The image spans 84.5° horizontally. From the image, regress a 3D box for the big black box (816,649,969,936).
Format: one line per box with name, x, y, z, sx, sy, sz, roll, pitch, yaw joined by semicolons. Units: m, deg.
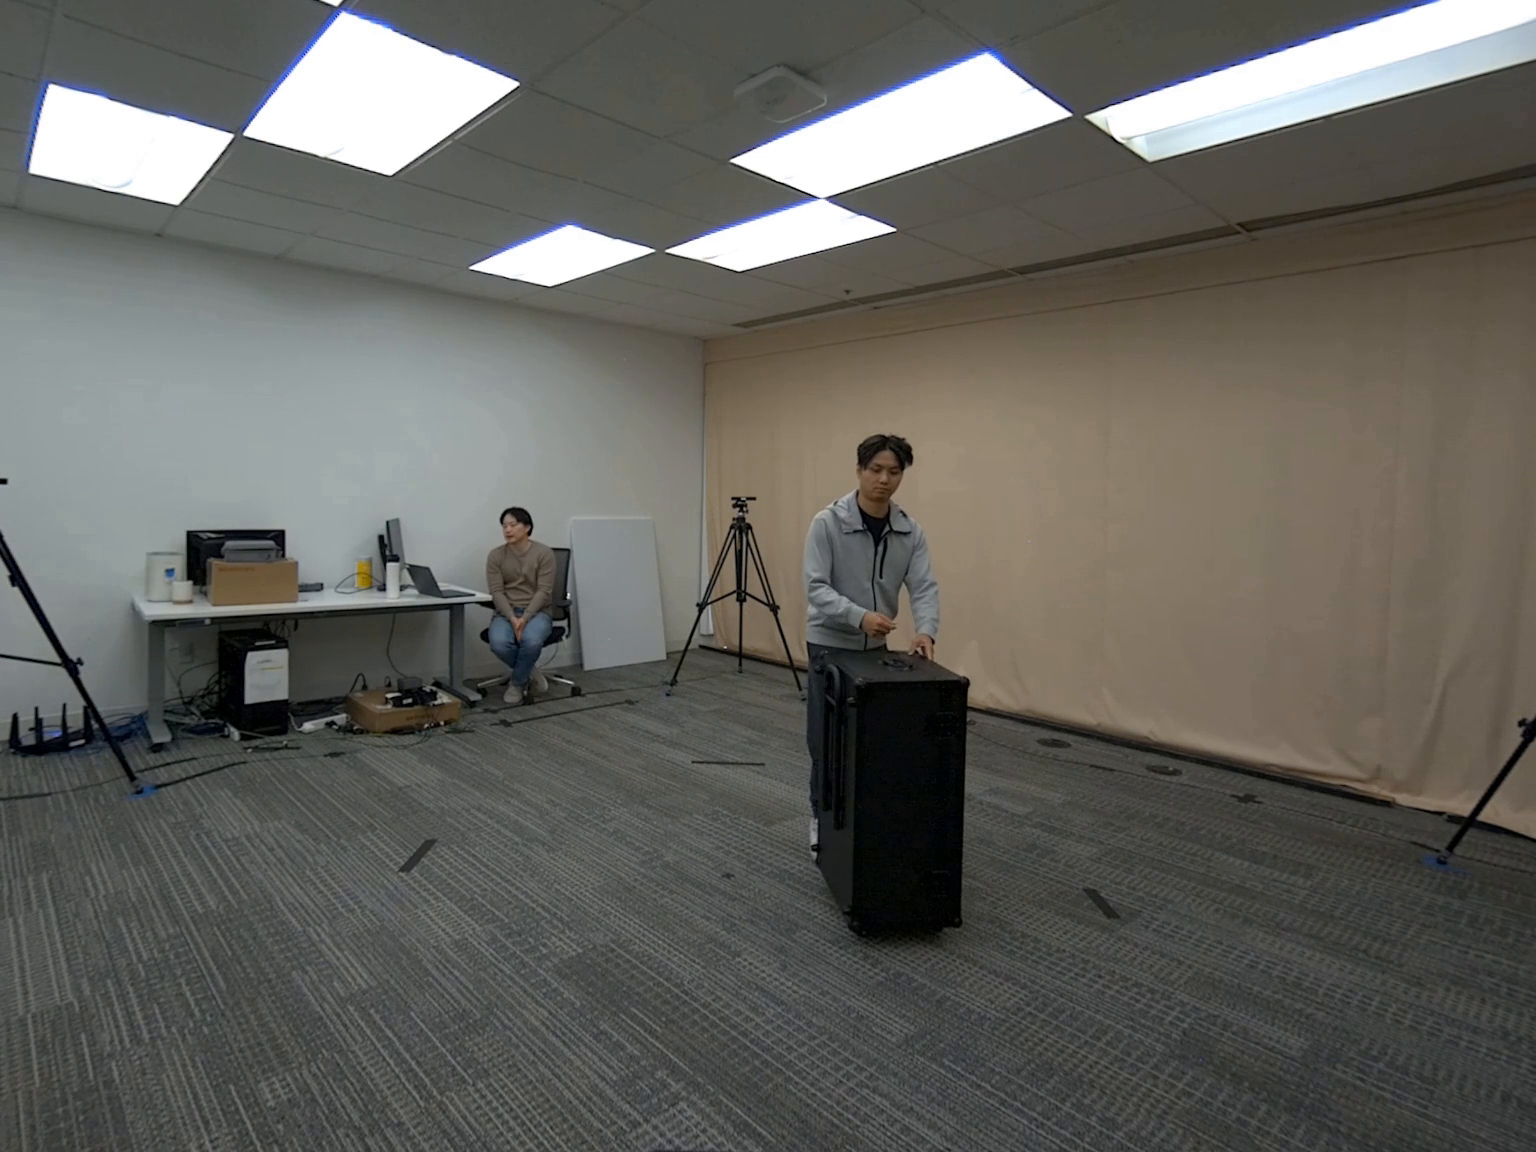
big black box;0.380;0.723;2.814;0.393;0.859;0.526;-1;4;-9
